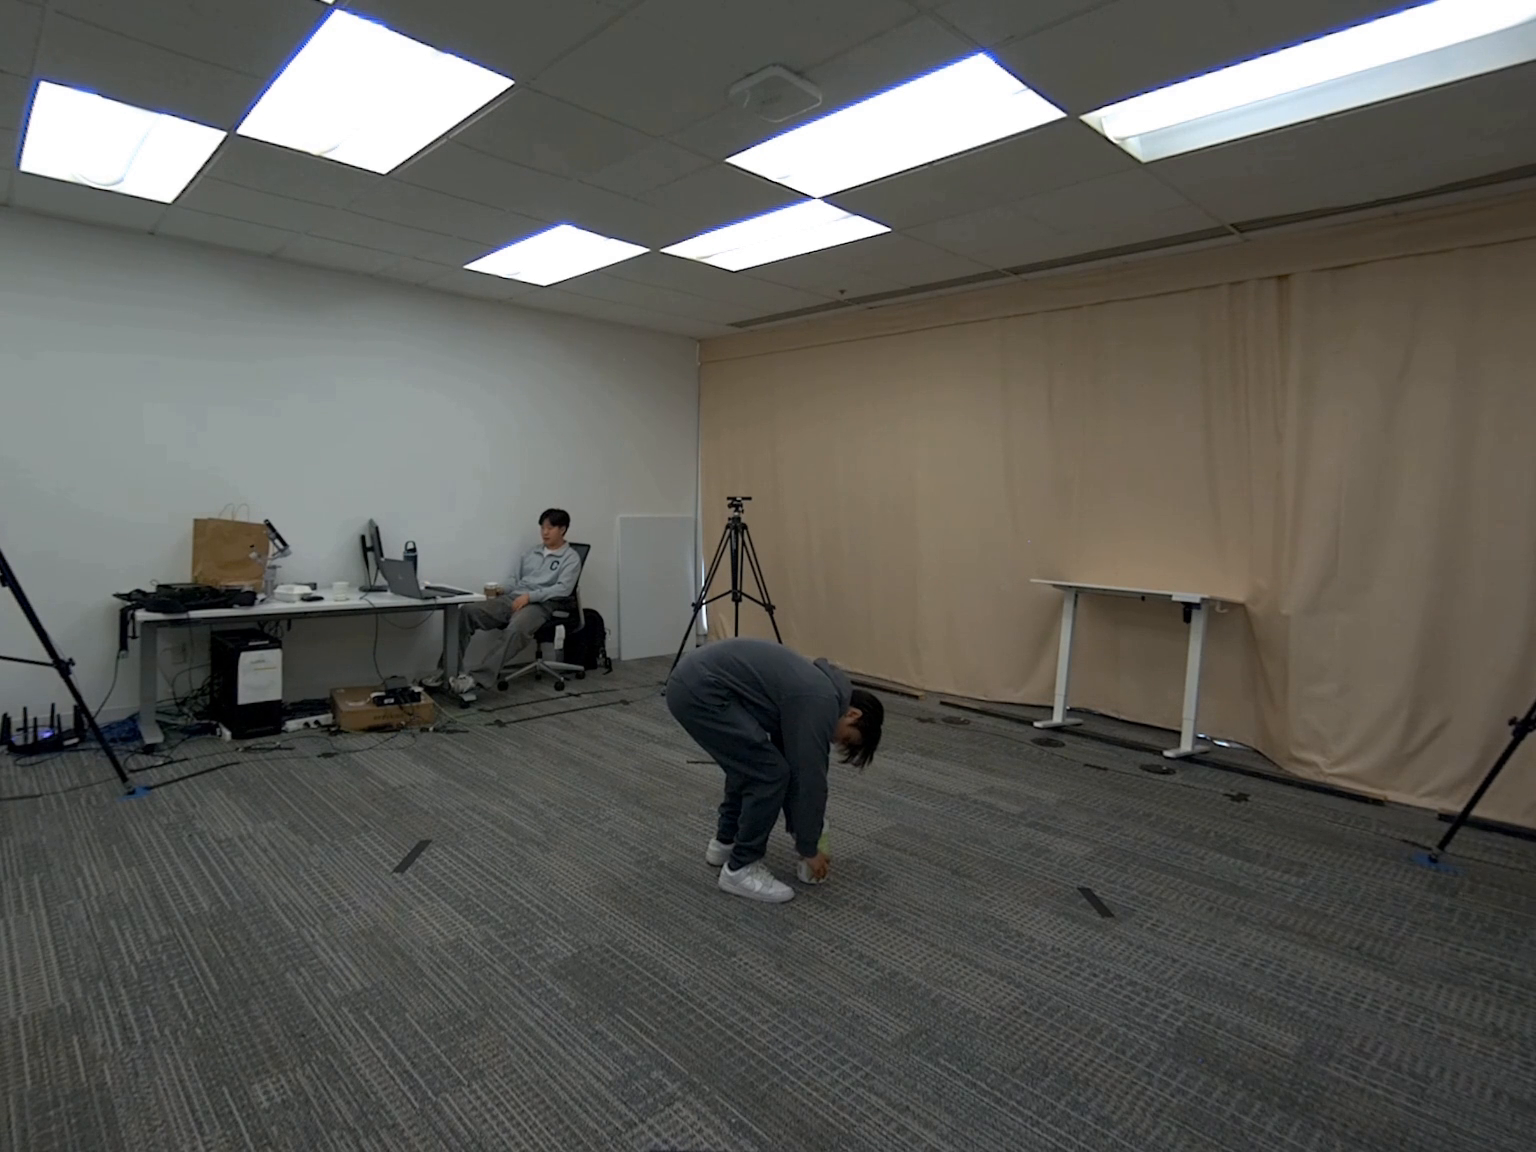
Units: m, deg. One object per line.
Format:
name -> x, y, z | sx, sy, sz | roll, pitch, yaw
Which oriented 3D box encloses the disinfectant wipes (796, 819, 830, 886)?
disinfectant wipes -> 0.165, 1.013, 3.090 | 0.117, 0.217, 0.118 | 4, 5, -2
